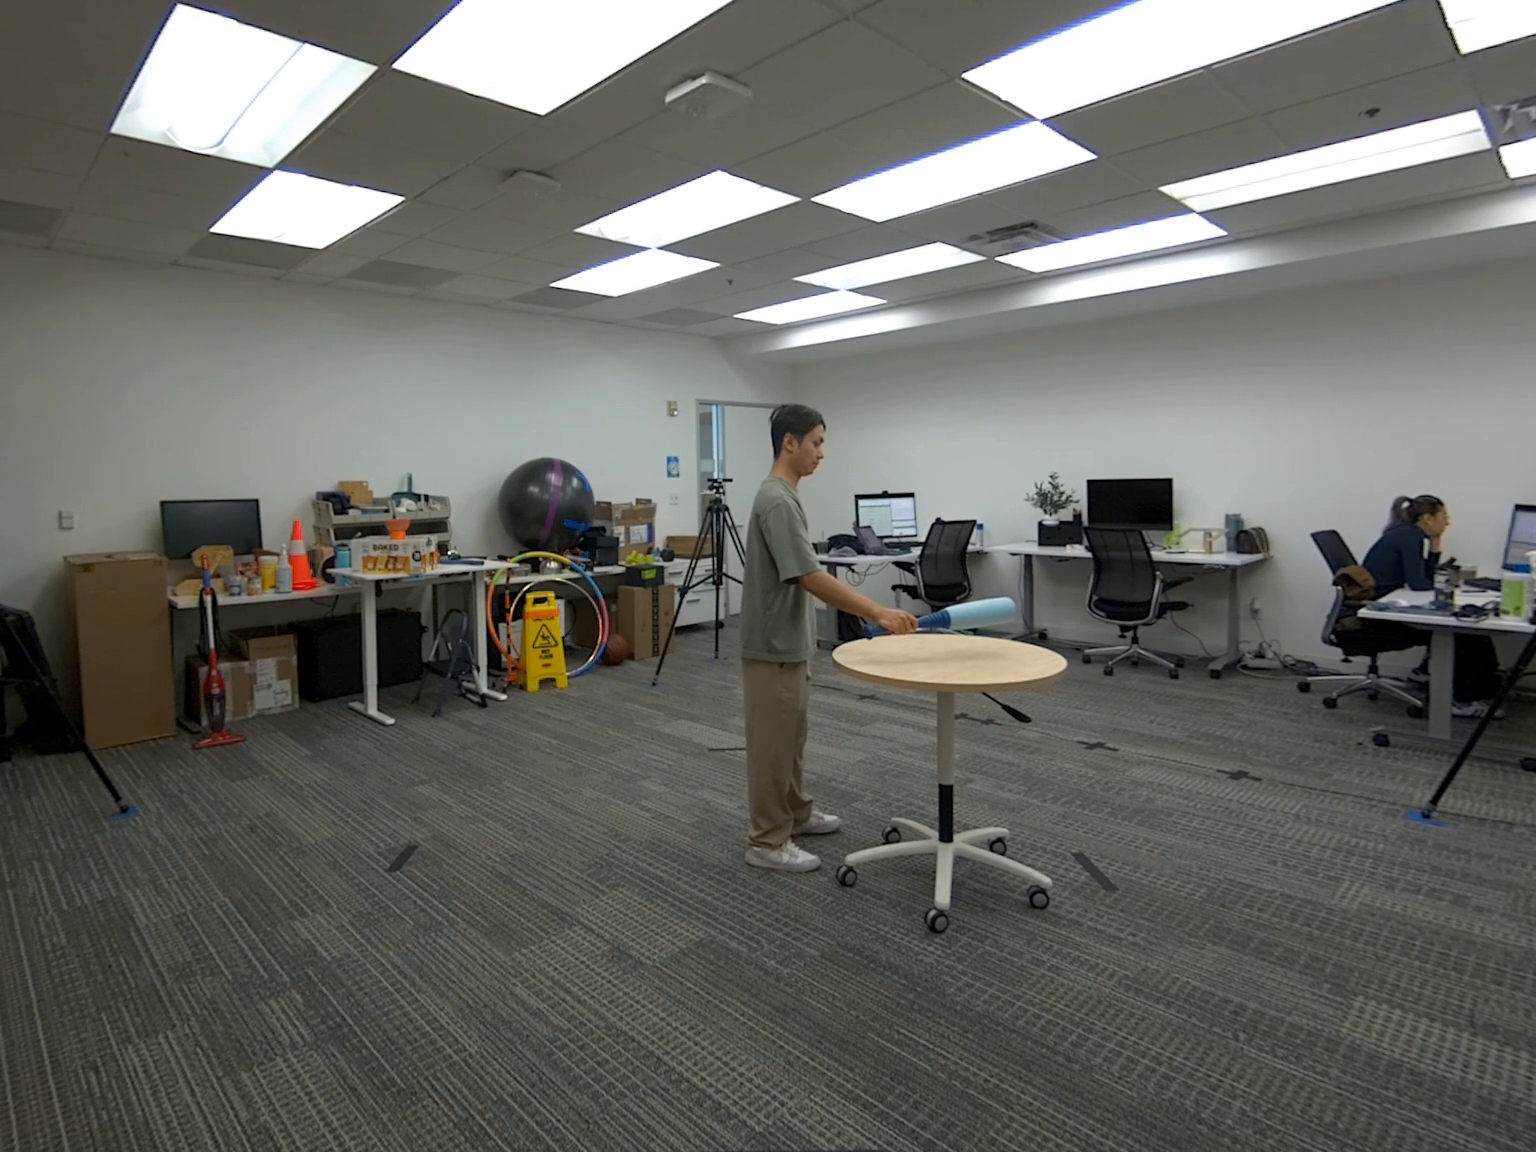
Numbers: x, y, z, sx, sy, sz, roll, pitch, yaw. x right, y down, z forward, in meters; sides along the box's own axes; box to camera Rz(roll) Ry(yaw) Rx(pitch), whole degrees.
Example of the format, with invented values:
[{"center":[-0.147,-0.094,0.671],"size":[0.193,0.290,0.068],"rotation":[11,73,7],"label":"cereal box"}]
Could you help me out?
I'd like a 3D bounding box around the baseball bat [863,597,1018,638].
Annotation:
[{"center":[0.580,0.152,2.836],"size":[0.537,0.088,0.090],"rotation":[-8,6,-12],"label":"baseball bat"}]
